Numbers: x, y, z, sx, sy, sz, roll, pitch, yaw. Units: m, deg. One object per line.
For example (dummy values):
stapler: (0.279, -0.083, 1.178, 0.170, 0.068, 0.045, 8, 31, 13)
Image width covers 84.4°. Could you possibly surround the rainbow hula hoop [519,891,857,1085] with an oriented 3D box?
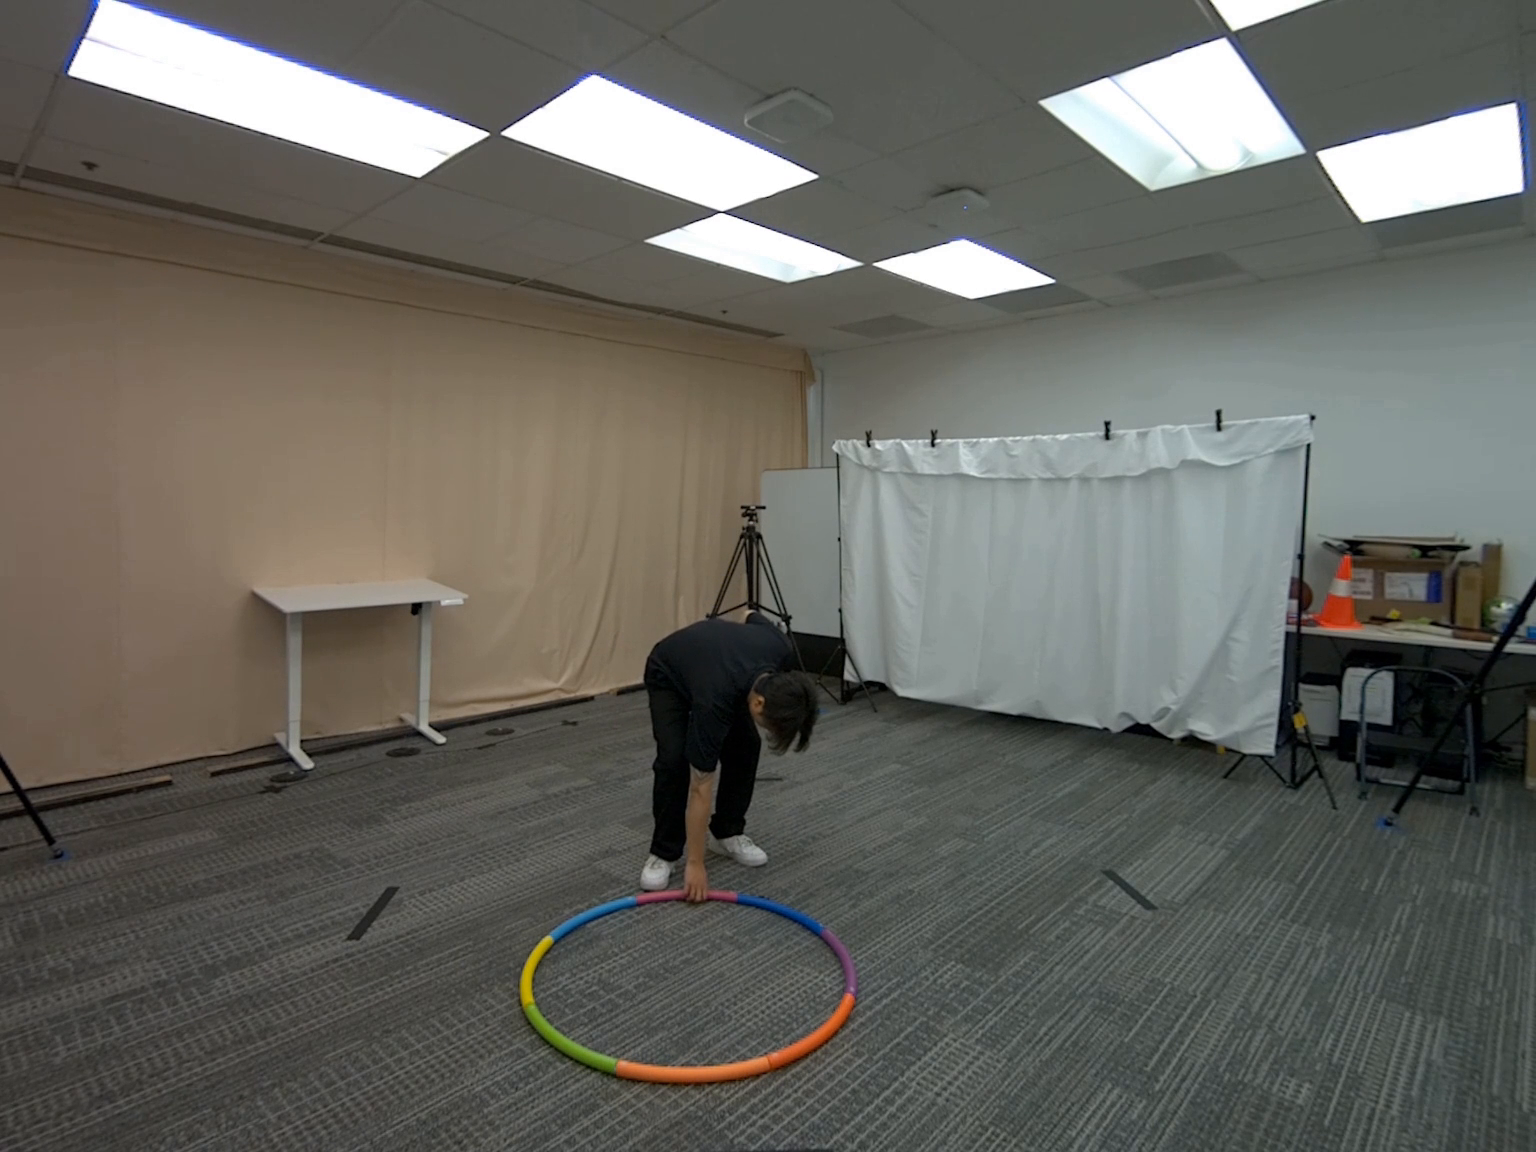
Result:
rainbow hula hoop: (-0.230, 1.153, 2.511, 0.978, 0.035, 0.982, 0, 5, -2)
